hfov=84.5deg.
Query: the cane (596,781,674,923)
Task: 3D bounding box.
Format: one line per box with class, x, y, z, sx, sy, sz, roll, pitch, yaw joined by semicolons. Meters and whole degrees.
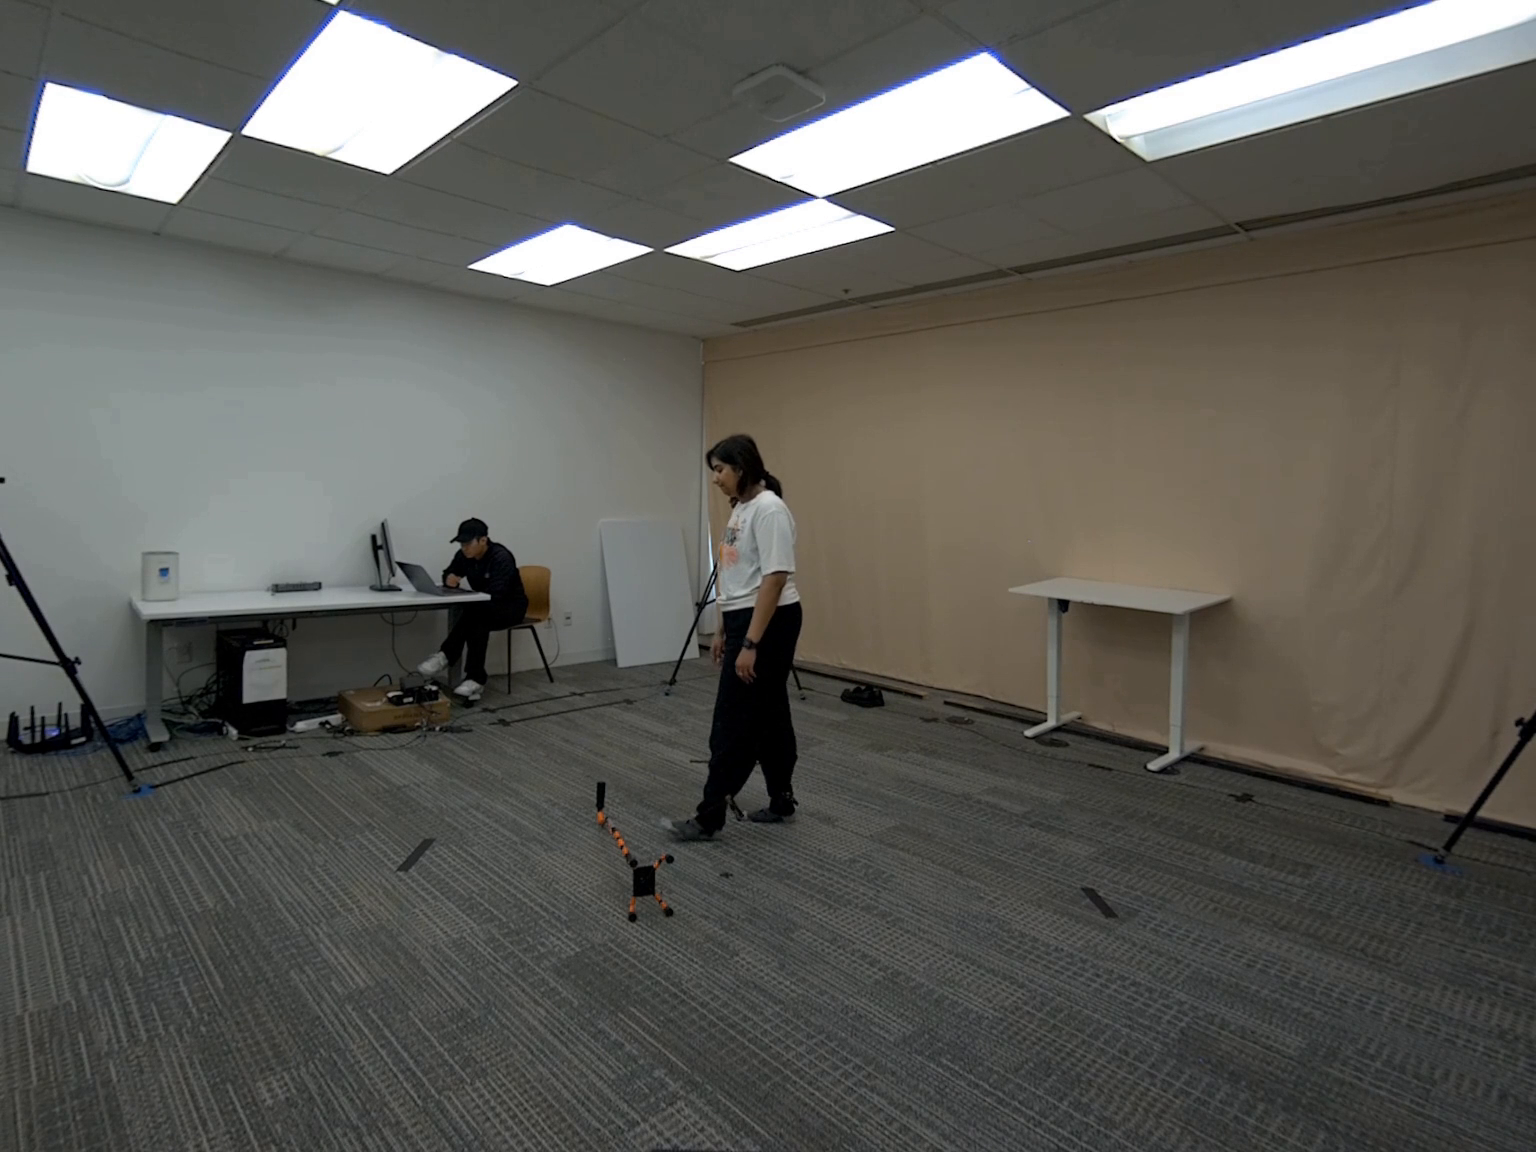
cane;-0.549;0.995;3.189;0.149;0.206;0.923;-2;4;-21
